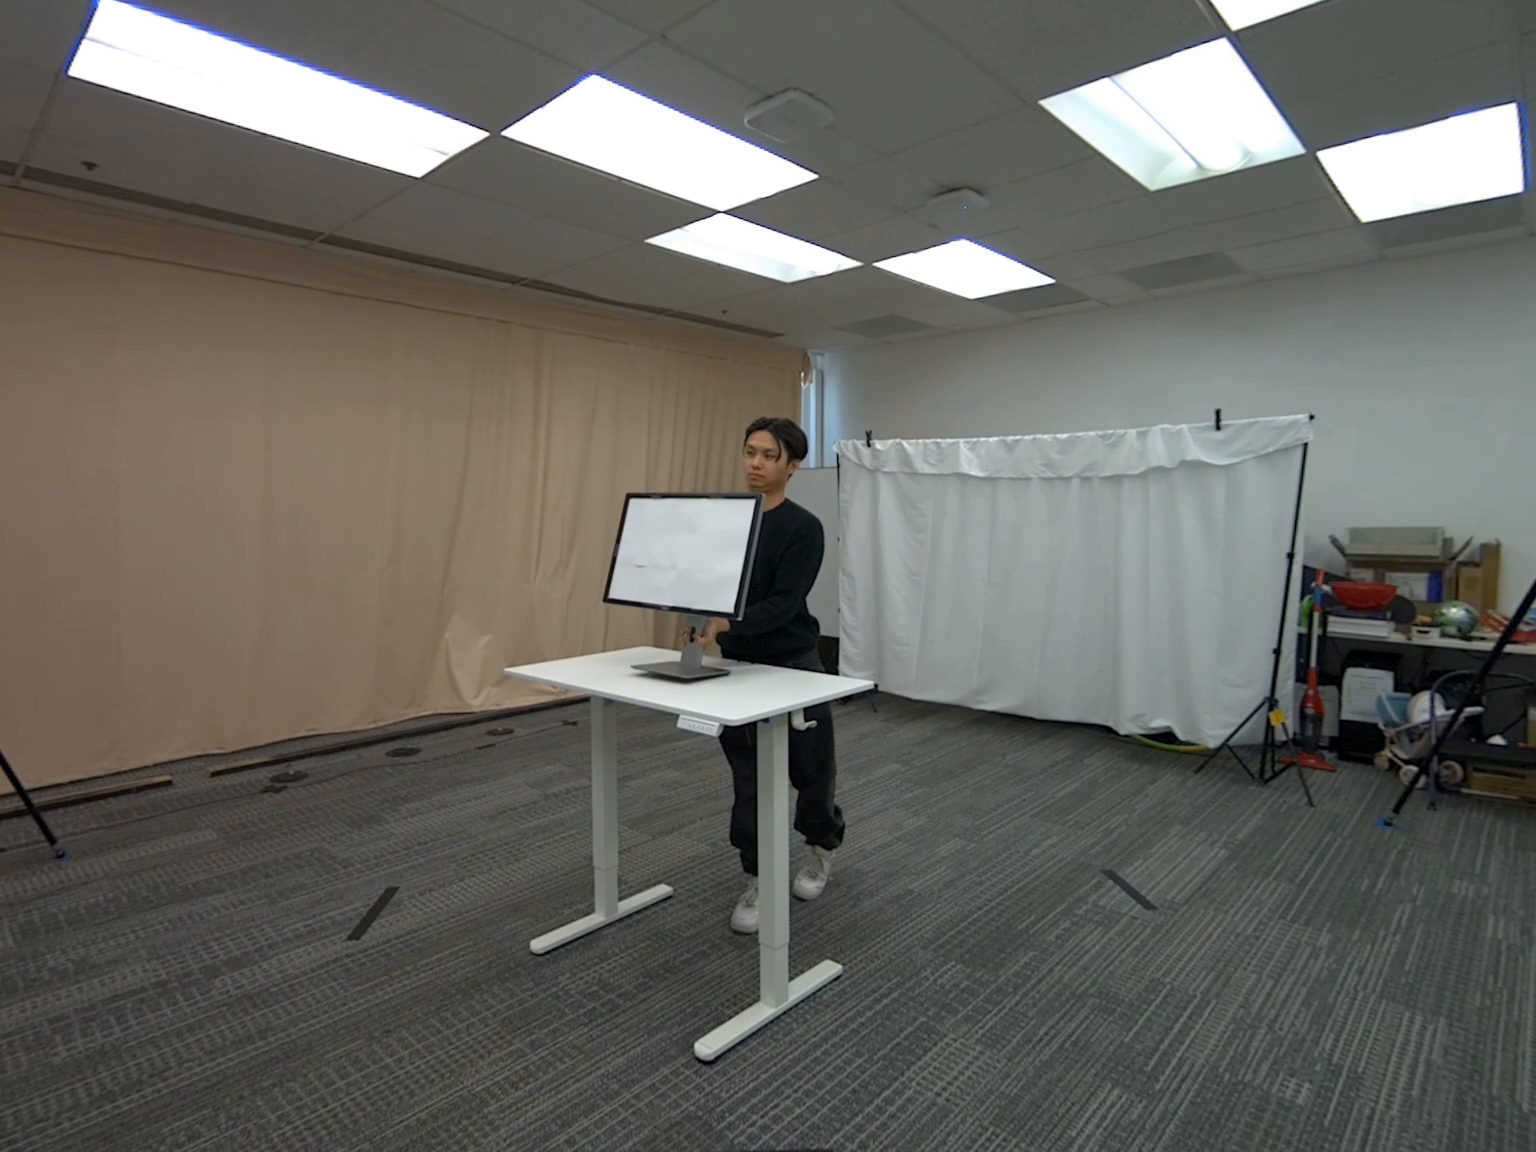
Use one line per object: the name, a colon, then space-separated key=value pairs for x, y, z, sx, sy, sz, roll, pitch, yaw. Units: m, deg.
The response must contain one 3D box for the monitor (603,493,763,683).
monitor: x=-0.247 y=0.025 z=2.546 sx=0.557 sy=0.522 sz=0.181 roll=4 pitch=2 yaw=39
